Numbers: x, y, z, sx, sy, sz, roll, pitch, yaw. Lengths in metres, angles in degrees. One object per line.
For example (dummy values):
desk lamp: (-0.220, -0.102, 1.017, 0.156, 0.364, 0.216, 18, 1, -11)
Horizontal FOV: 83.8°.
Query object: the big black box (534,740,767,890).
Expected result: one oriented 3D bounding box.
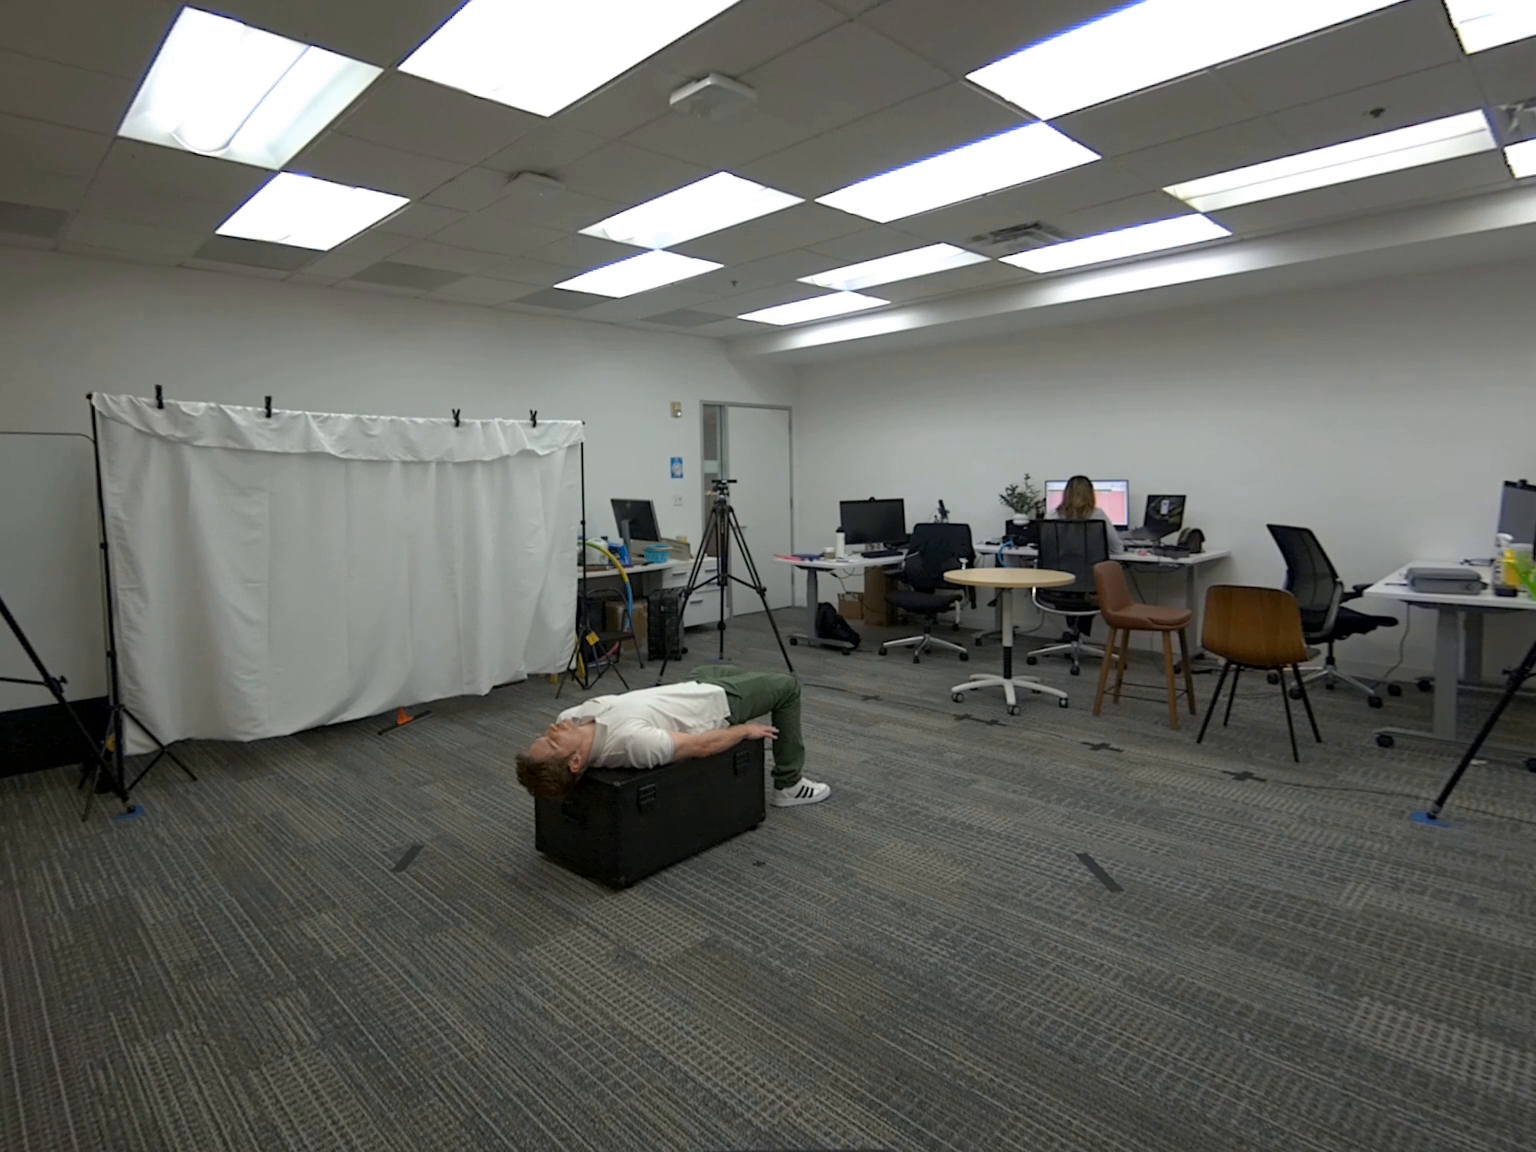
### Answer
big black box: (-0.414, 0.840, 3.343, 0.539, 0.384, 0.846, 3, 6, 42)
